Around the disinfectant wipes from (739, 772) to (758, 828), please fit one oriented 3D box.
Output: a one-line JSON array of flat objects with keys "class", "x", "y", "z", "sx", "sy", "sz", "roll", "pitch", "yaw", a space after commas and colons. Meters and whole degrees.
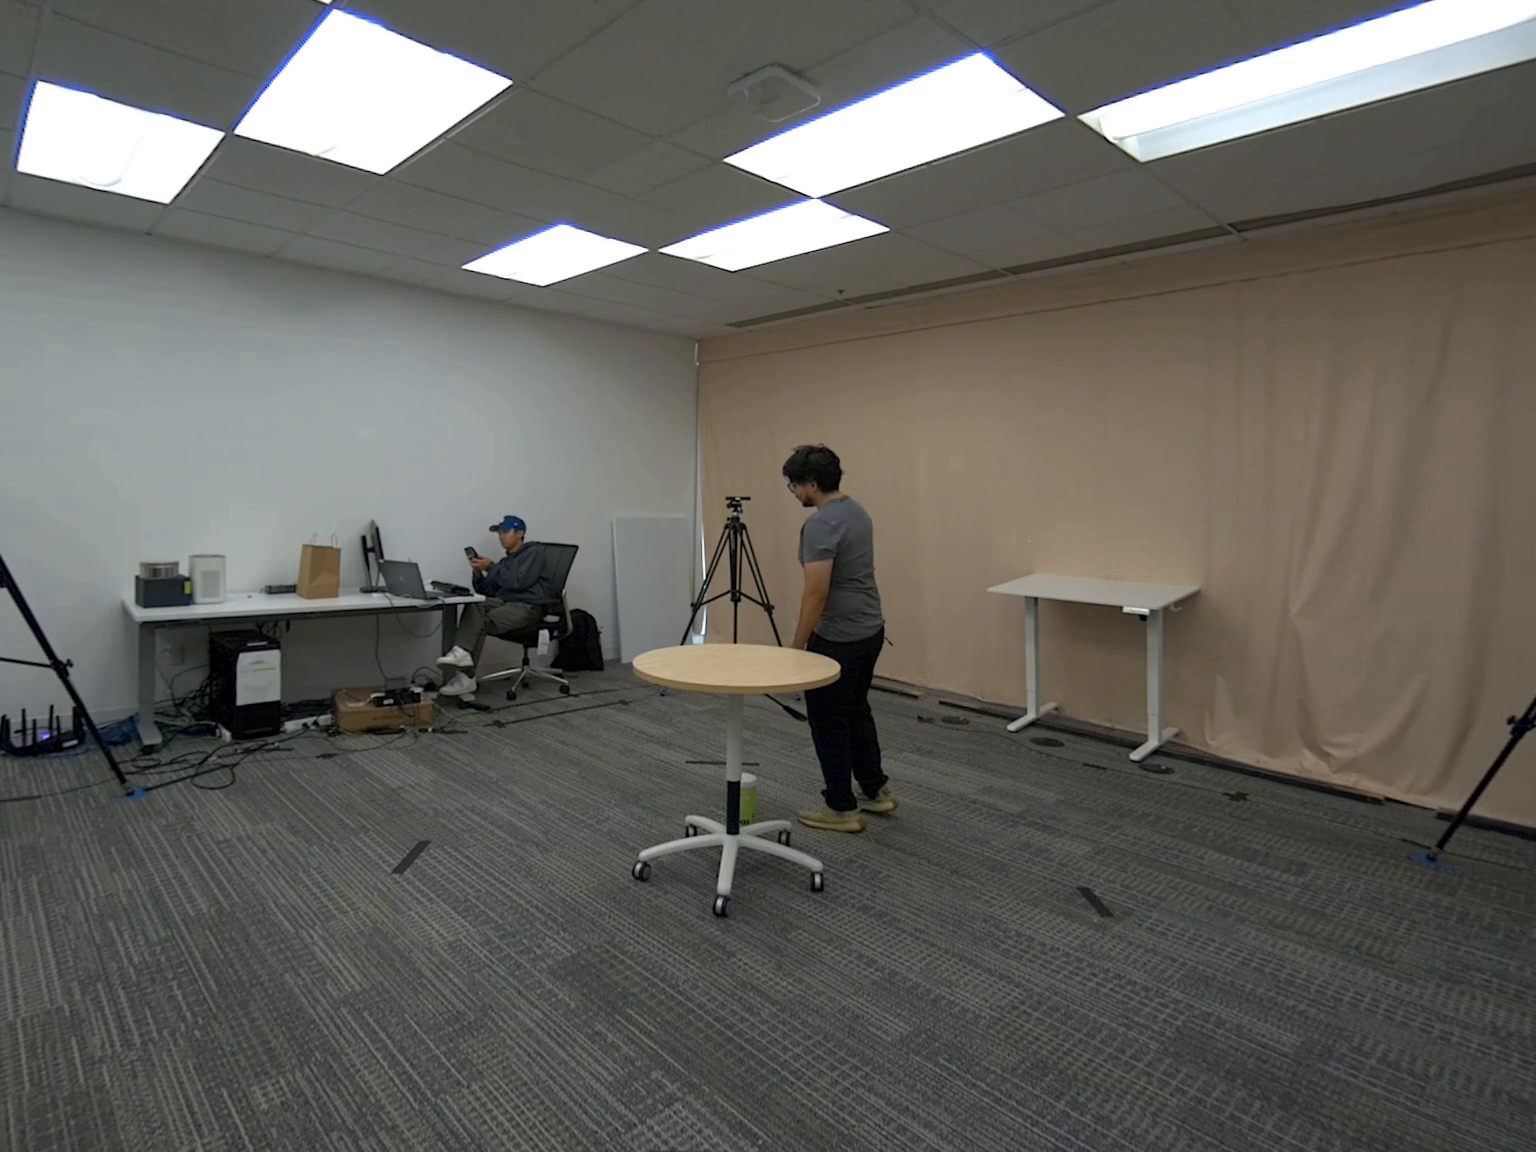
[{"class": "disinfectant wipes", "x": -0.107, "y": 0.956, "z": 3.572, "sx": 0.118, "sy": 0.217, "sz": 0.118, "roll": 1, "pitch": 2, "yaw": -1}]
